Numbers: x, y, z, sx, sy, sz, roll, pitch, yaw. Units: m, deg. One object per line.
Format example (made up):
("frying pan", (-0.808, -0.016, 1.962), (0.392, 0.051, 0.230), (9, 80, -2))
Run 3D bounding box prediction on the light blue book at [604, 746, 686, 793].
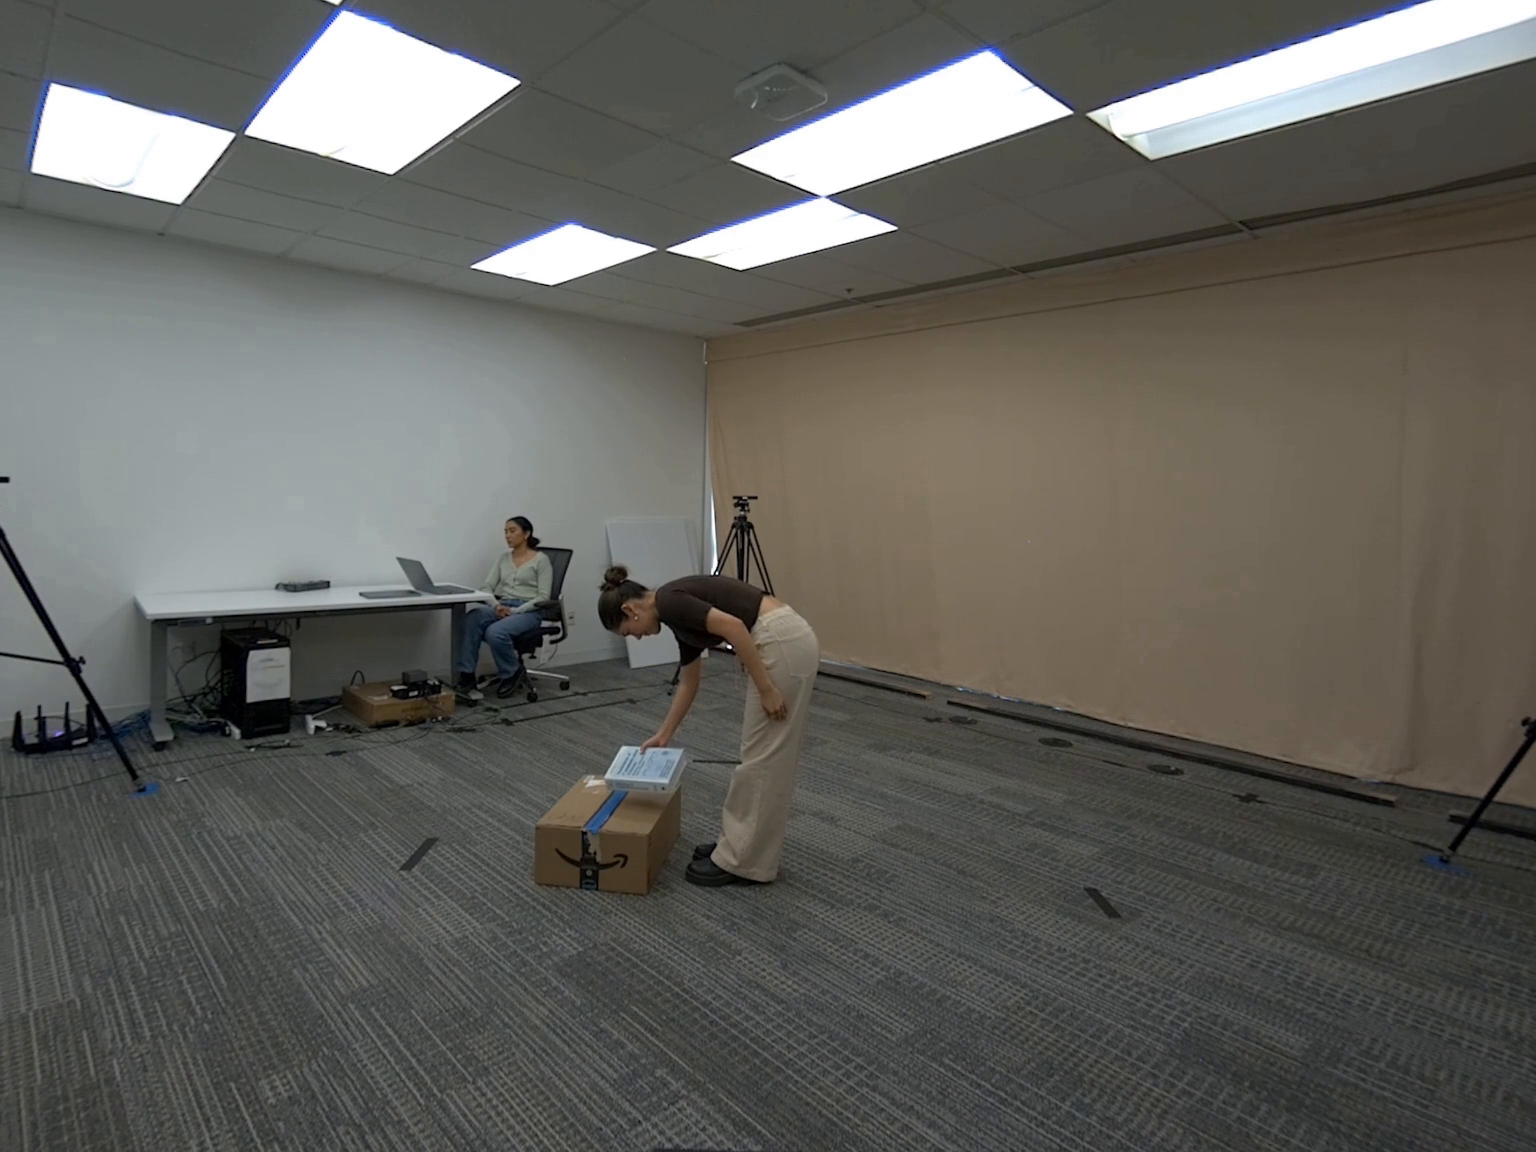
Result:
("light blue book", (-0.461, 0.733, 3.195), (0.264, 0.058, 0.193), (-2, 26, 13))
